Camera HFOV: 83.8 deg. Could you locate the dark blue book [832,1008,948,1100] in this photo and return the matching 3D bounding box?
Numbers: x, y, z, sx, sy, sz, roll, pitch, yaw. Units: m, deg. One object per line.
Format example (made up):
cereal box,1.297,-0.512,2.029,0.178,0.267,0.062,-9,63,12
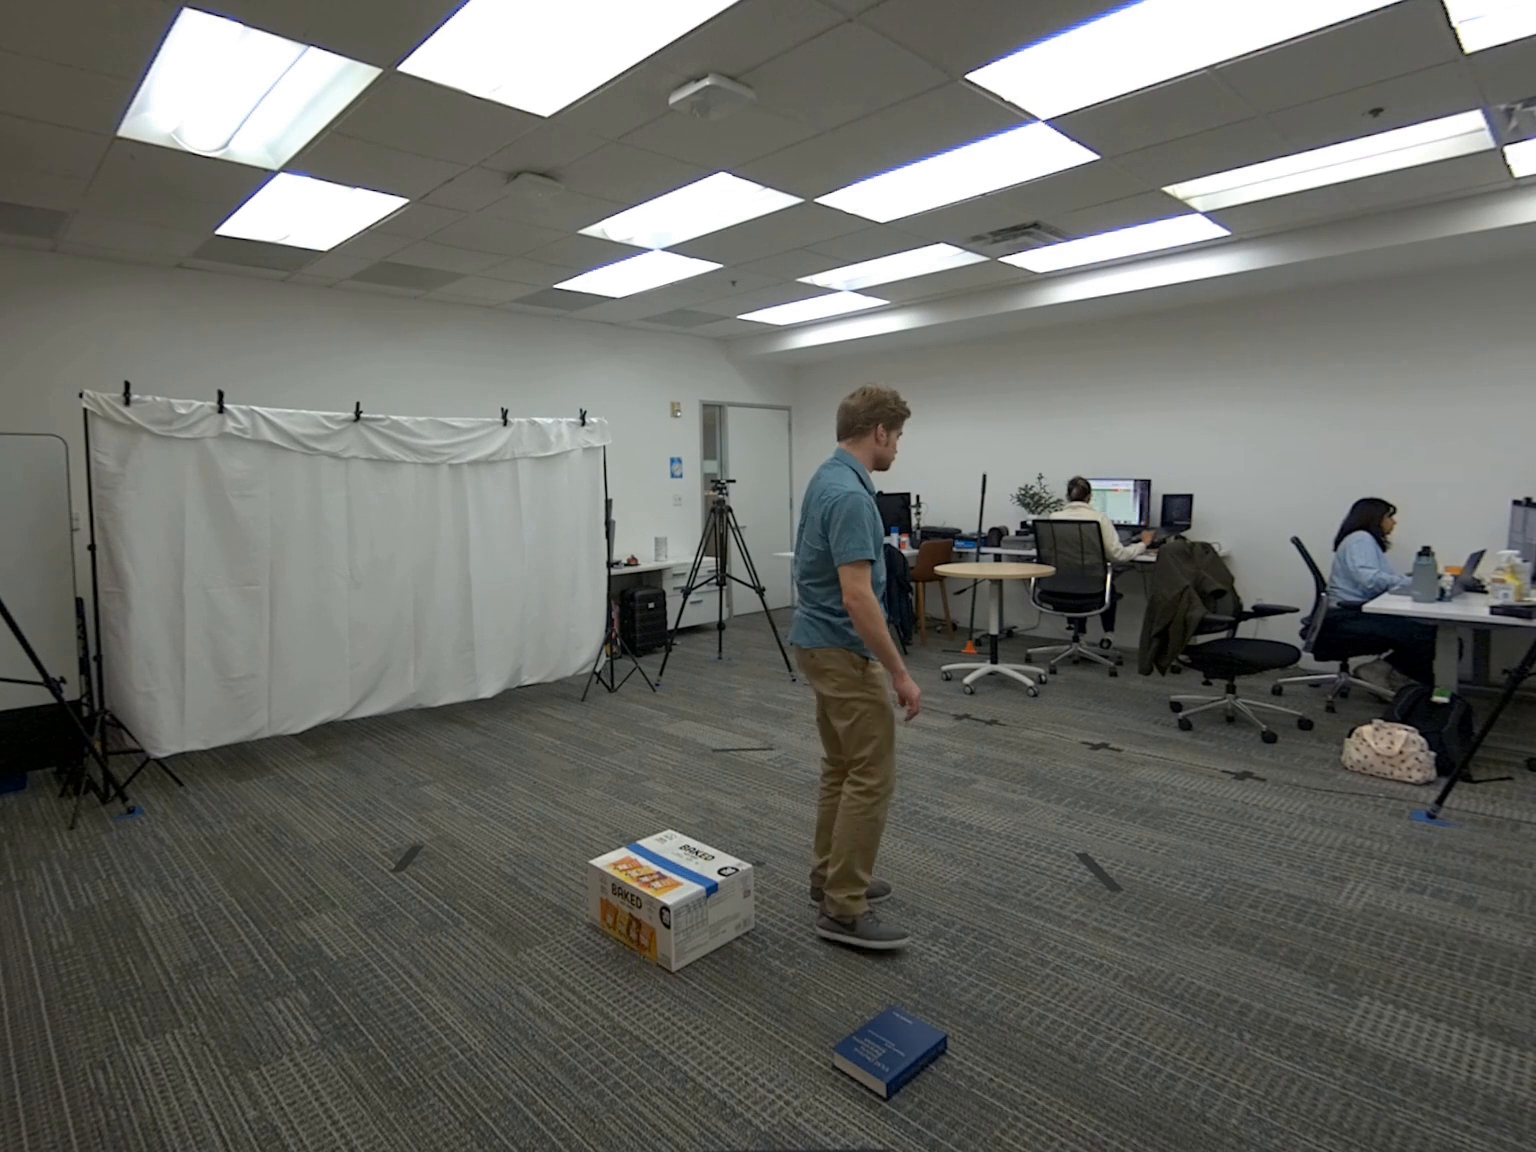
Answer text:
dark blue book,0.303,1.146,2.053,0.239,0.045,0.168,-8,9,-43
